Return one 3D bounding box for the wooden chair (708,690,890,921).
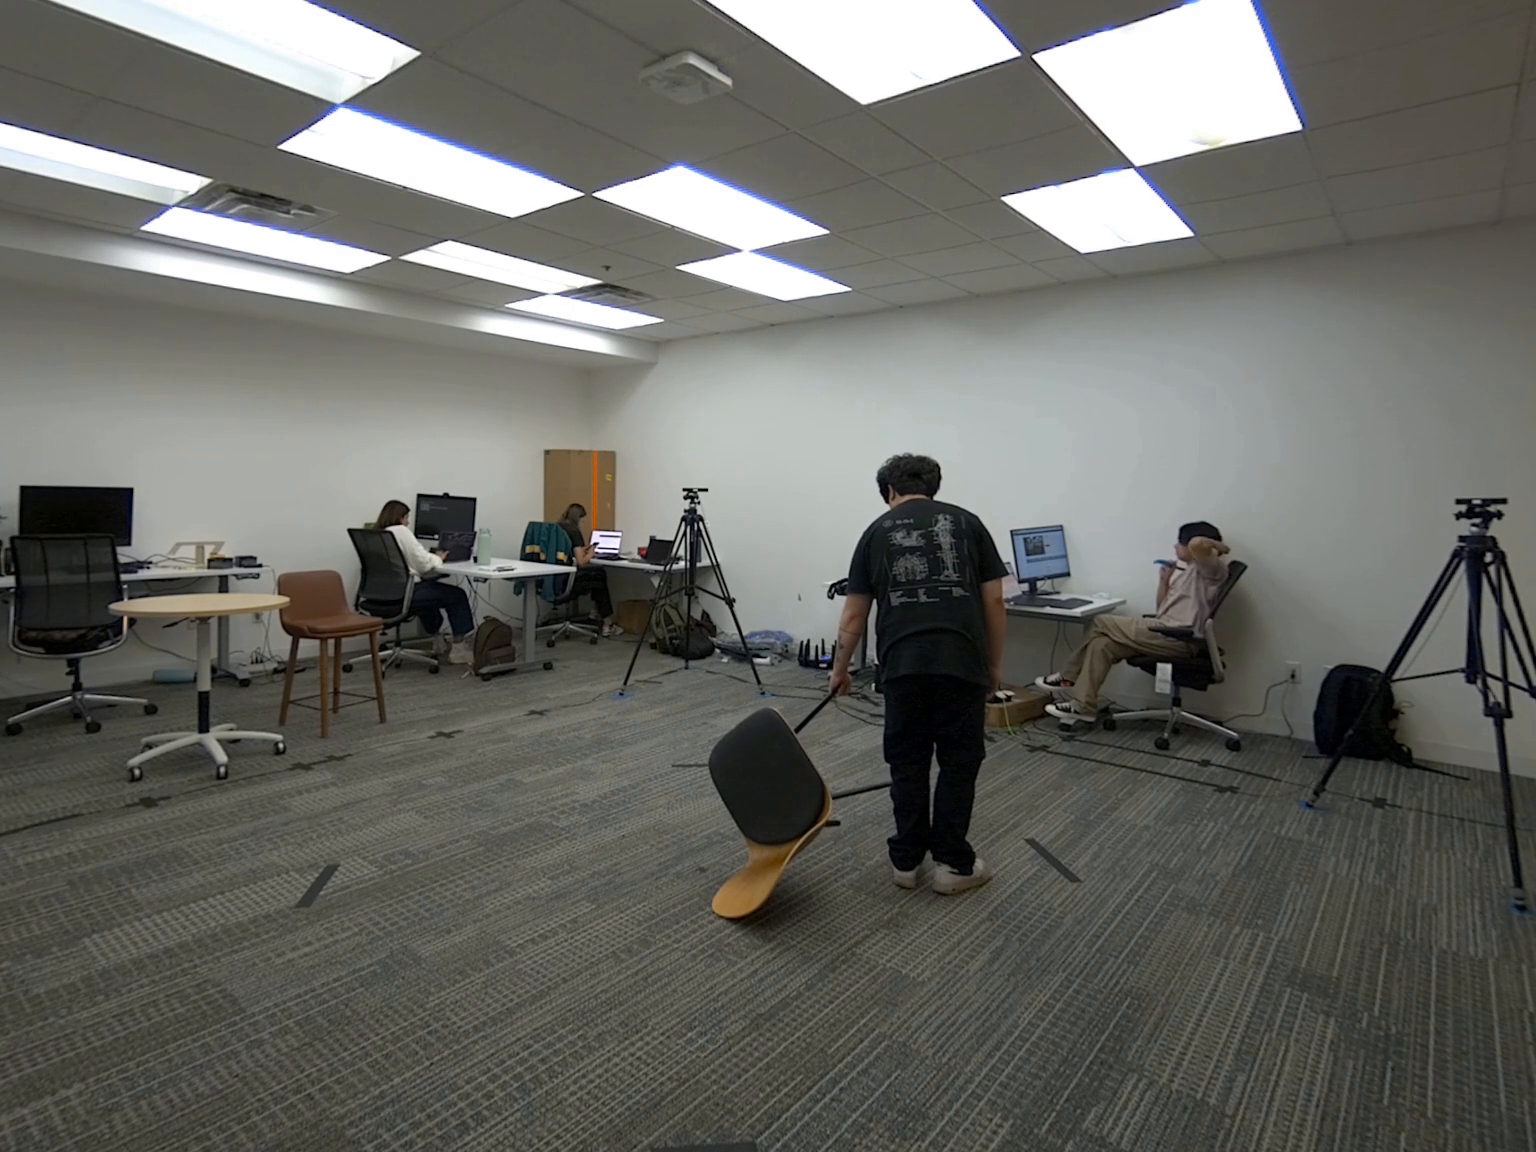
[{"bbox_3d":[0.031,0.763,3.068,0.479,0.534,0.859,-44,-15,35],"label":"wooden chair"}]
